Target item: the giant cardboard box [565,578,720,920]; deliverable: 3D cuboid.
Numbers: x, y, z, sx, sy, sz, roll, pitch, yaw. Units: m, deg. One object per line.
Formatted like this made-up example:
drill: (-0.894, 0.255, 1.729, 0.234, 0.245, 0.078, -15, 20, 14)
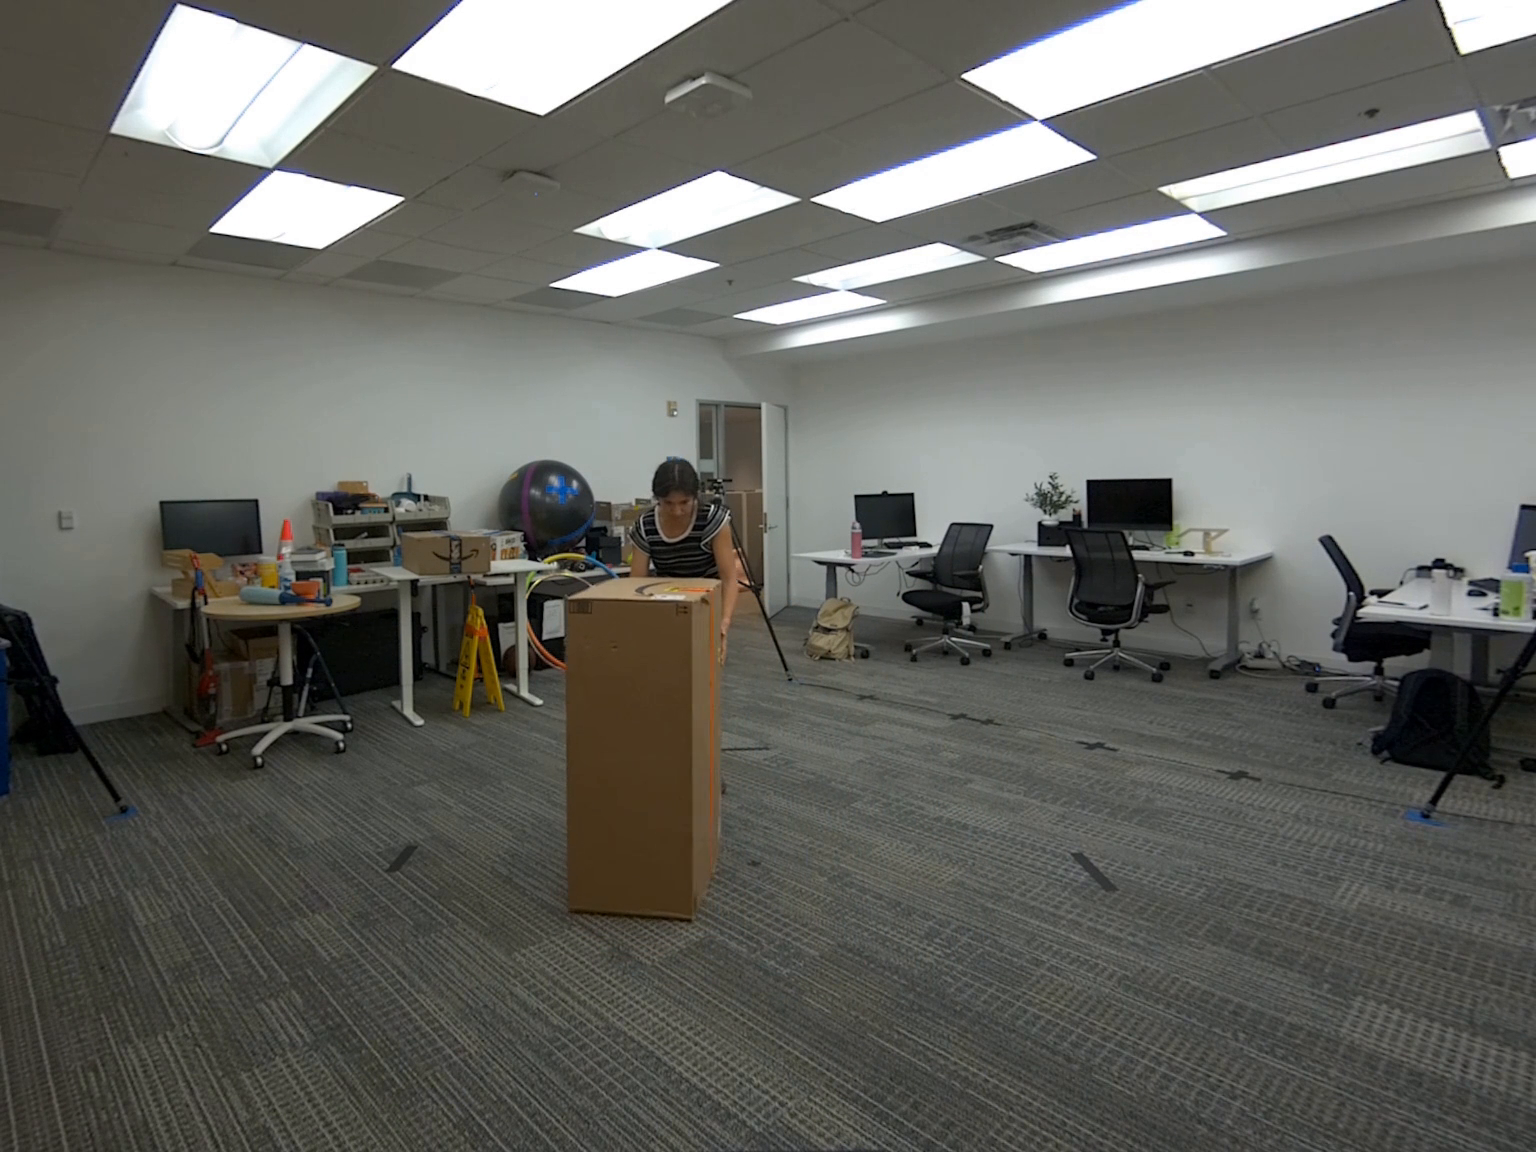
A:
giant cardboard box: (-0.411, 0.552, 2.989, 0.429, 1.023, 0.575, 0, 4, 6)
